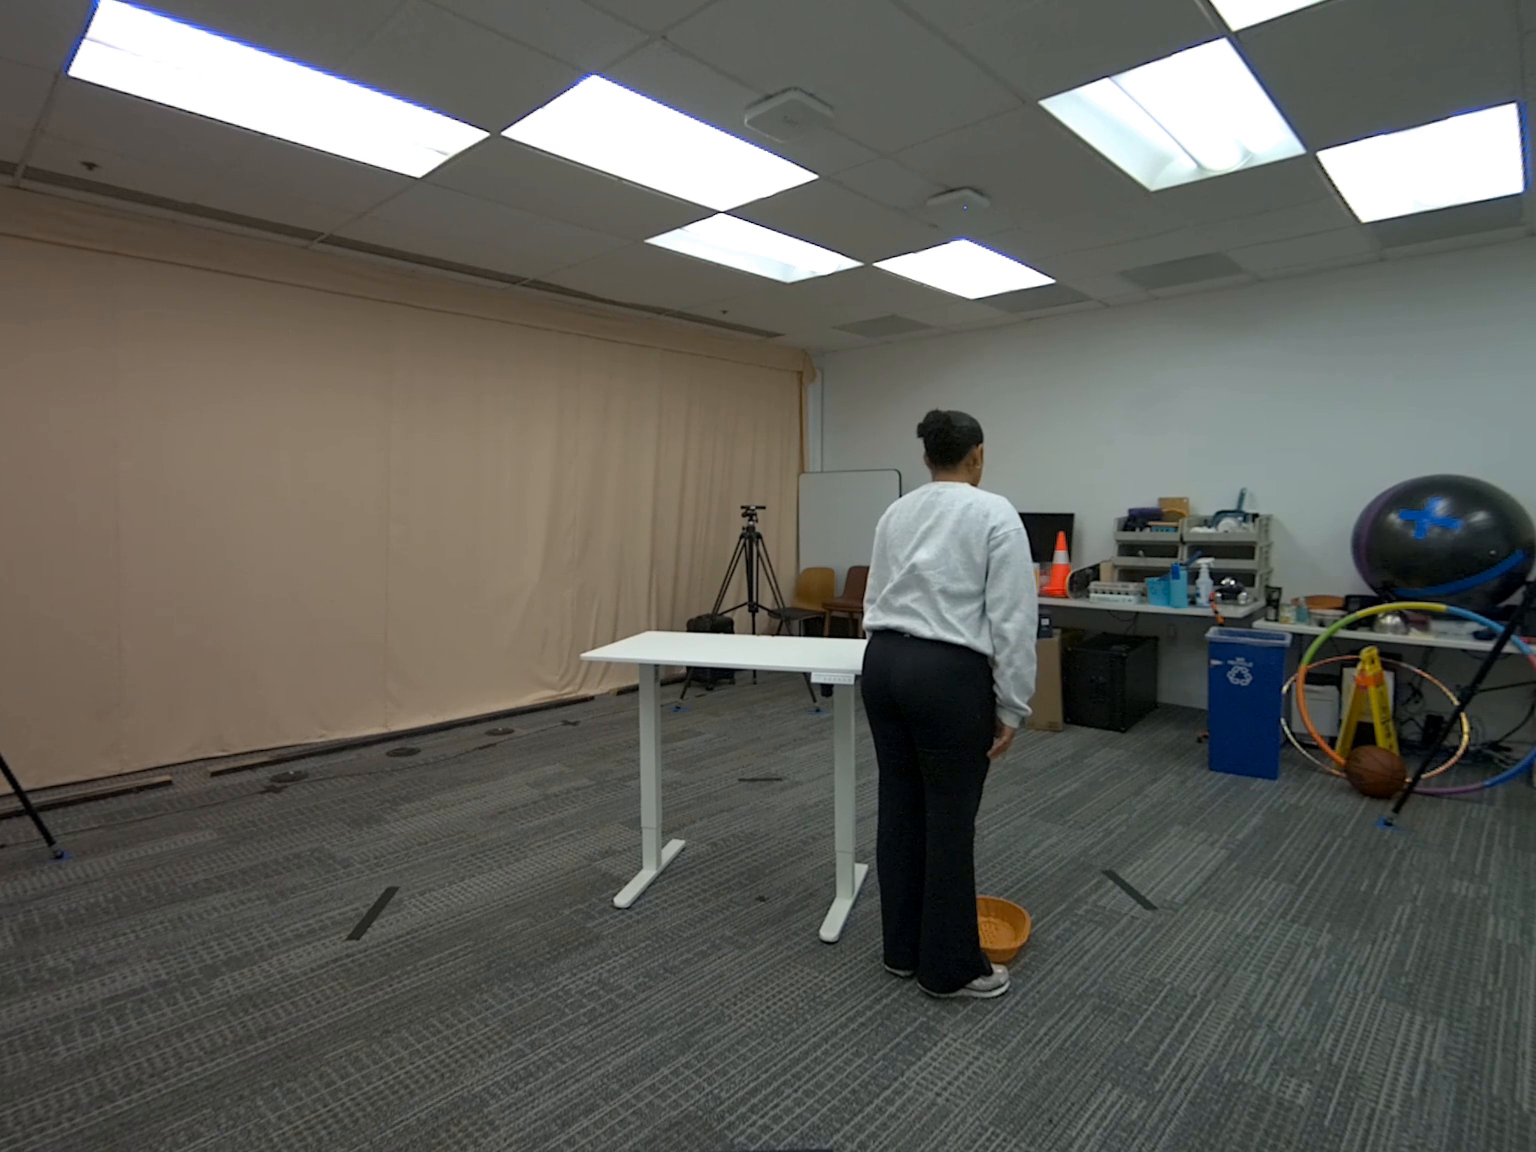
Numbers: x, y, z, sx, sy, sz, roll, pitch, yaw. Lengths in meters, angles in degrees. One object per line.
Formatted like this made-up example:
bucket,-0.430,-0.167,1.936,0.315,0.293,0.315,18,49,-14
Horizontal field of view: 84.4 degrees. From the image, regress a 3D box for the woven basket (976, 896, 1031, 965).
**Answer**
woven basket,0.703,1.126,2.680,0.259,0.073,0.342,3,6,26
